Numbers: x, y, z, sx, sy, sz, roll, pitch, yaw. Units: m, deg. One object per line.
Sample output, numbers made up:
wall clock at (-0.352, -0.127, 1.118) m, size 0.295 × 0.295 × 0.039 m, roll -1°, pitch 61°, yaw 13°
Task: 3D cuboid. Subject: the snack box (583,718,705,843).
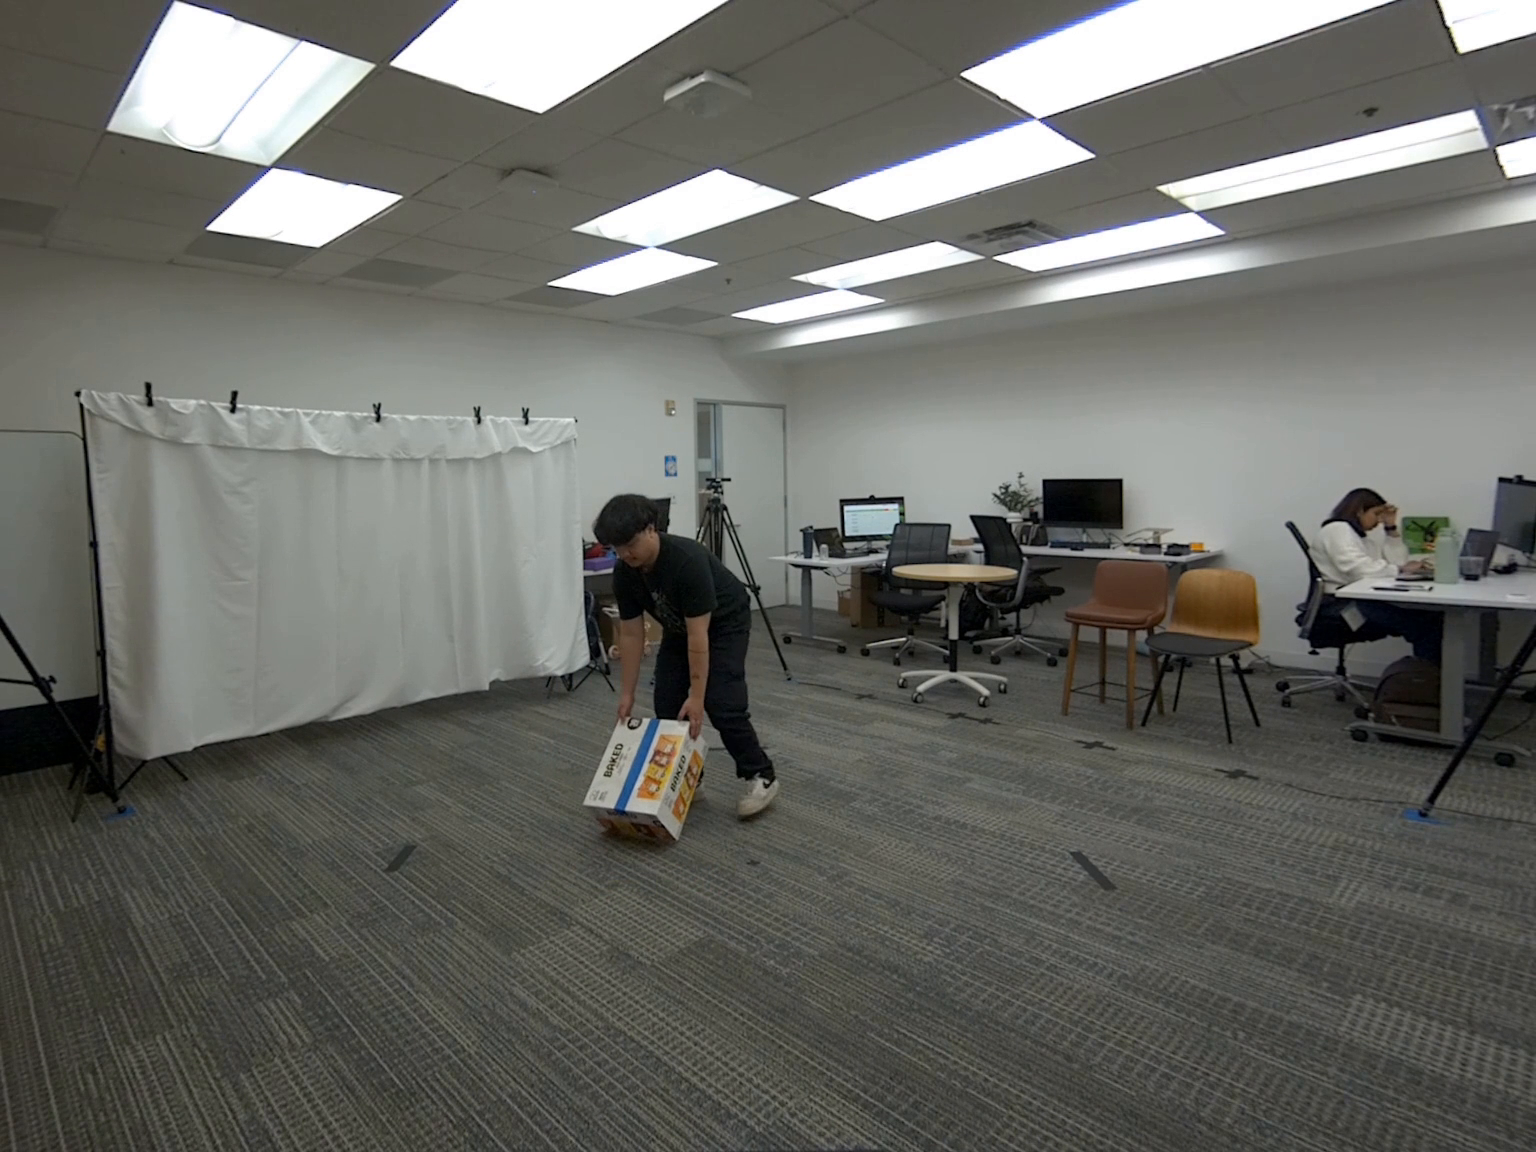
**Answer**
snack box at (-0.477, 0.801, 3.404) m, size 0.348 × 0.198 × 0.411 m, roll -2°, pitch 47°, yaw 27°
